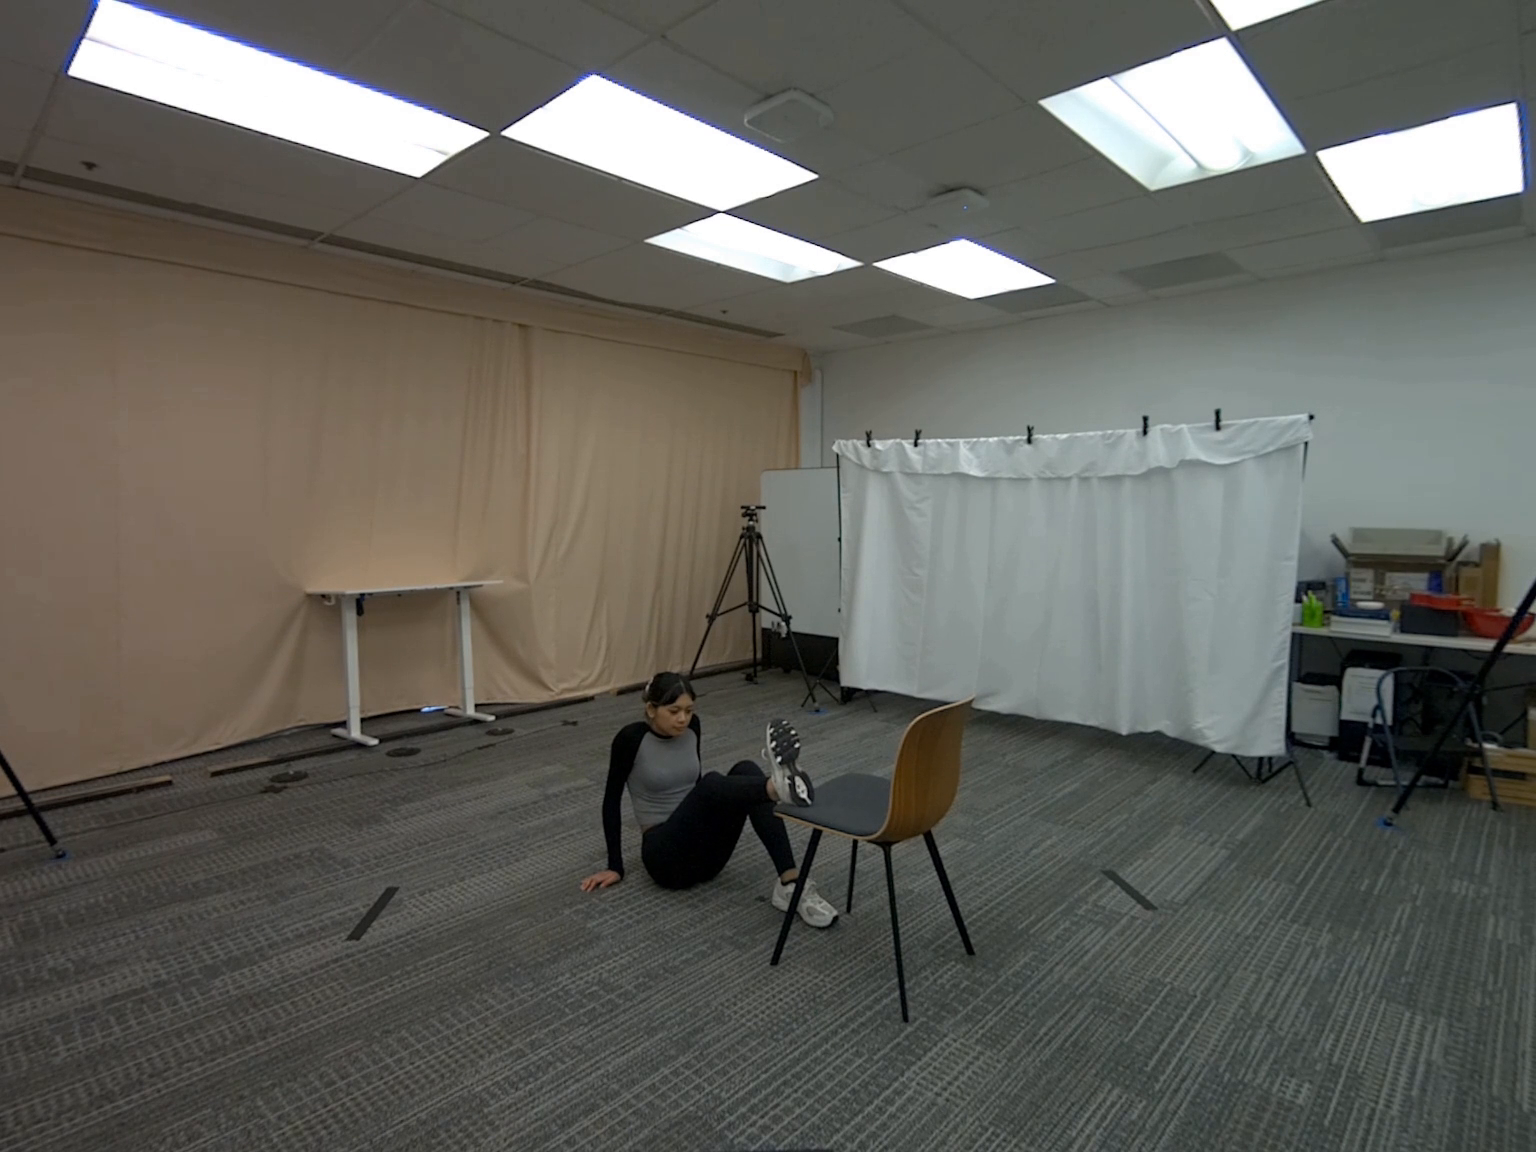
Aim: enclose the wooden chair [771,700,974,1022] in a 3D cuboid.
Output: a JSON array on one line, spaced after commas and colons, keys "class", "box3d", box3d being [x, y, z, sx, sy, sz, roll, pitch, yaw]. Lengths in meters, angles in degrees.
[{"class": "wooden chair", "box3d": [0.321, 0.750, 2.555, 0.541, 0.874, 0.464, 8, 8, 38]}]
